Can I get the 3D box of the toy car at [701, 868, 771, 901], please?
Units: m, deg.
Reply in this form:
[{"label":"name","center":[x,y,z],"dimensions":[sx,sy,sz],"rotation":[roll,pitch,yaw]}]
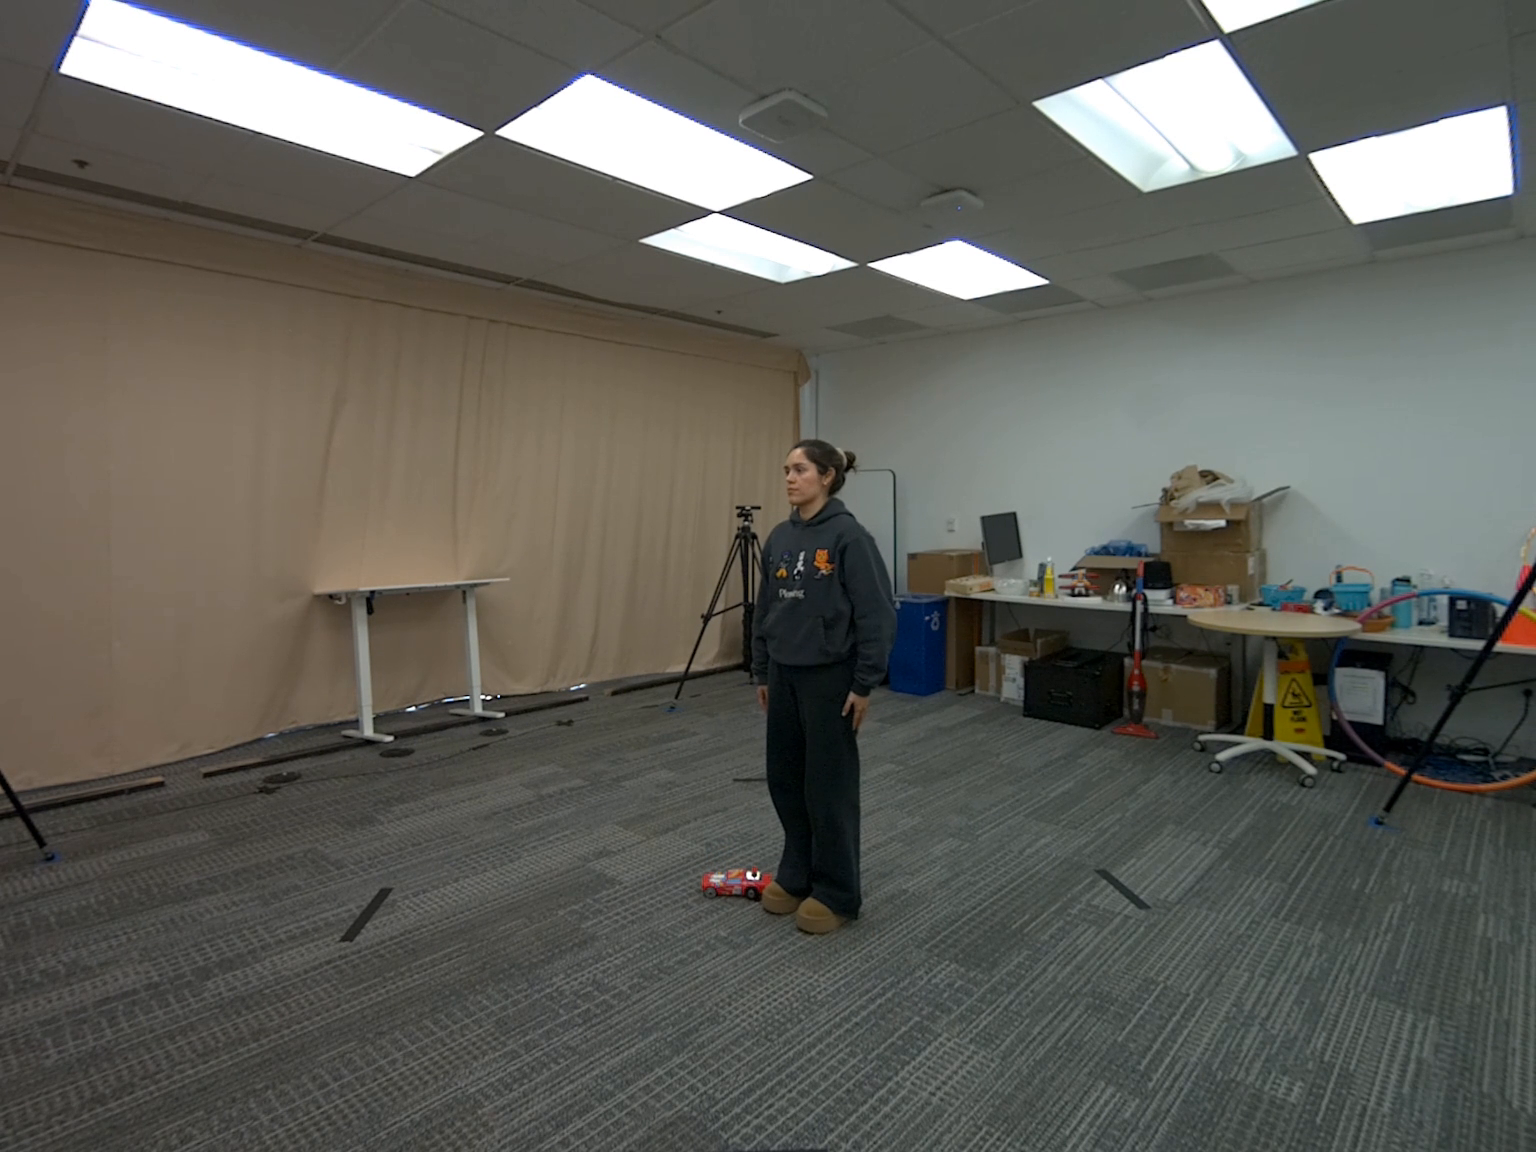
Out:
[{"label":"toy car","center":[-0.085,1.112,3.036],"dimensions":[0.255,0.083,0.130],"rotation":[-13,5,3]}]
